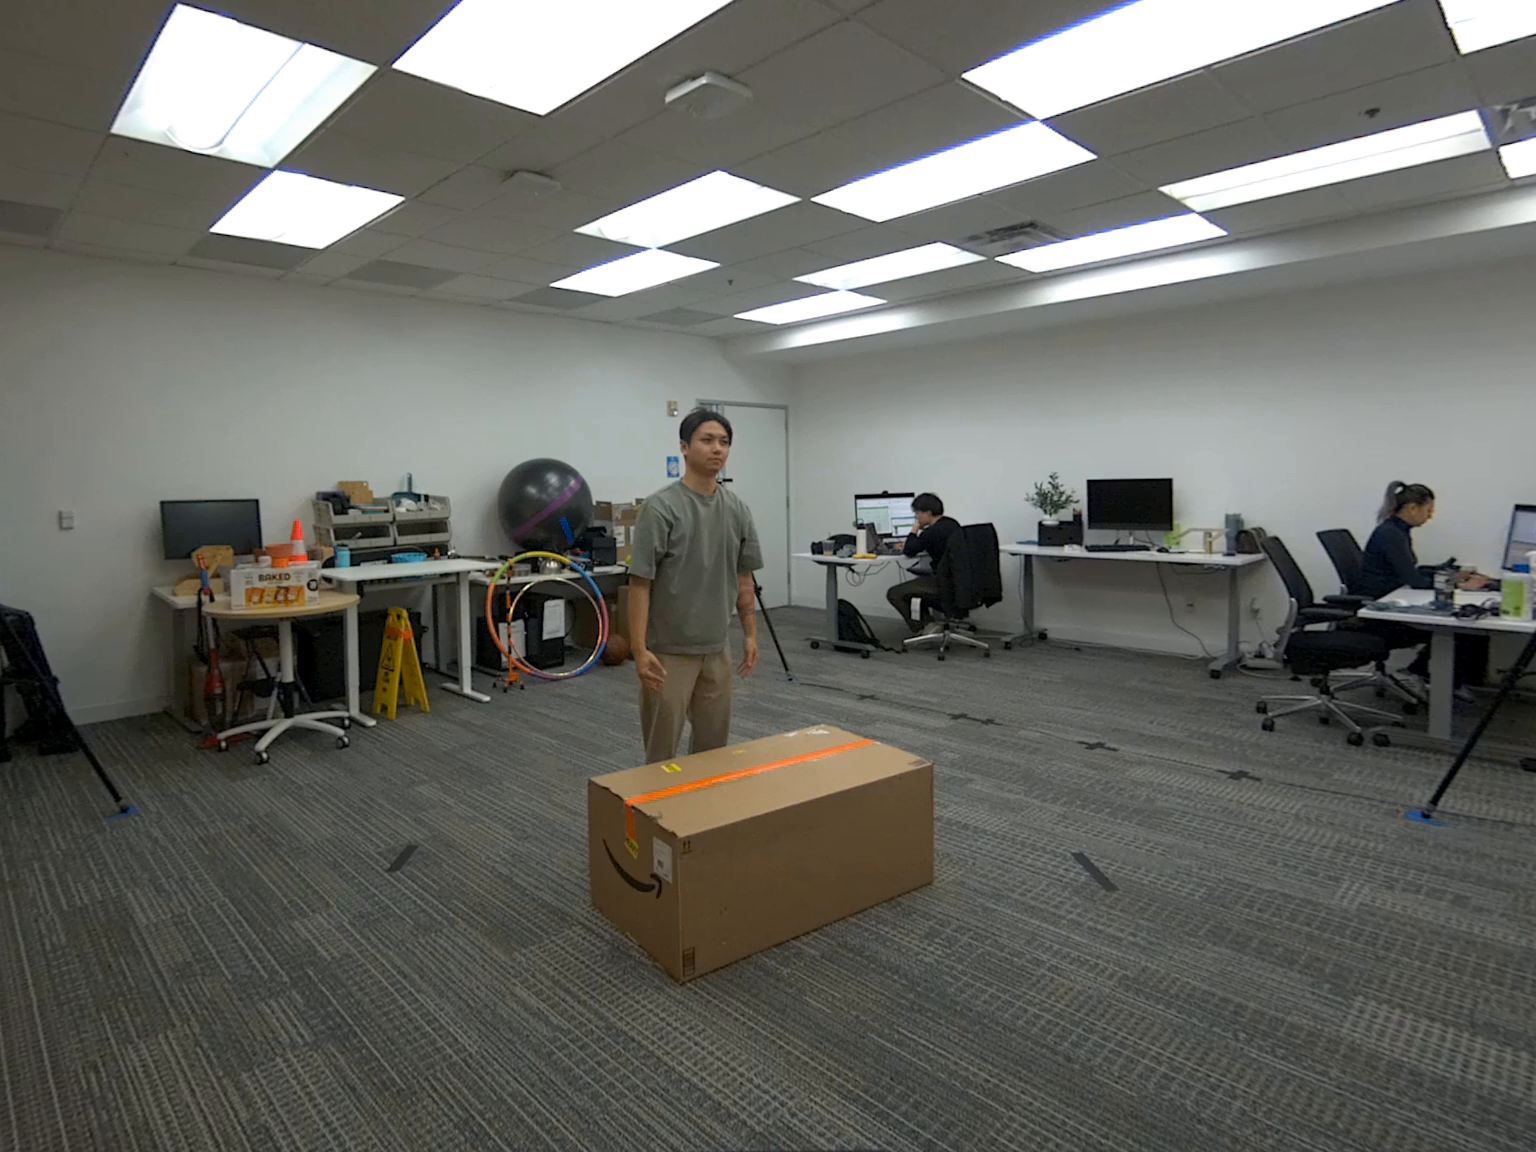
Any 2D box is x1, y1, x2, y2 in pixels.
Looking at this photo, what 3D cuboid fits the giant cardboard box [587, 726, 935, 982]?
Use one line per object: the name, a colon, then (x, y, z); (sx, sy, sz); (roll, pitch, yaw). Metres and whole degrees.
giant cardboard box: (-0.010, 0.856, 2.868); (1.000, 0.424, 0.594); (-5, 7, -35)
